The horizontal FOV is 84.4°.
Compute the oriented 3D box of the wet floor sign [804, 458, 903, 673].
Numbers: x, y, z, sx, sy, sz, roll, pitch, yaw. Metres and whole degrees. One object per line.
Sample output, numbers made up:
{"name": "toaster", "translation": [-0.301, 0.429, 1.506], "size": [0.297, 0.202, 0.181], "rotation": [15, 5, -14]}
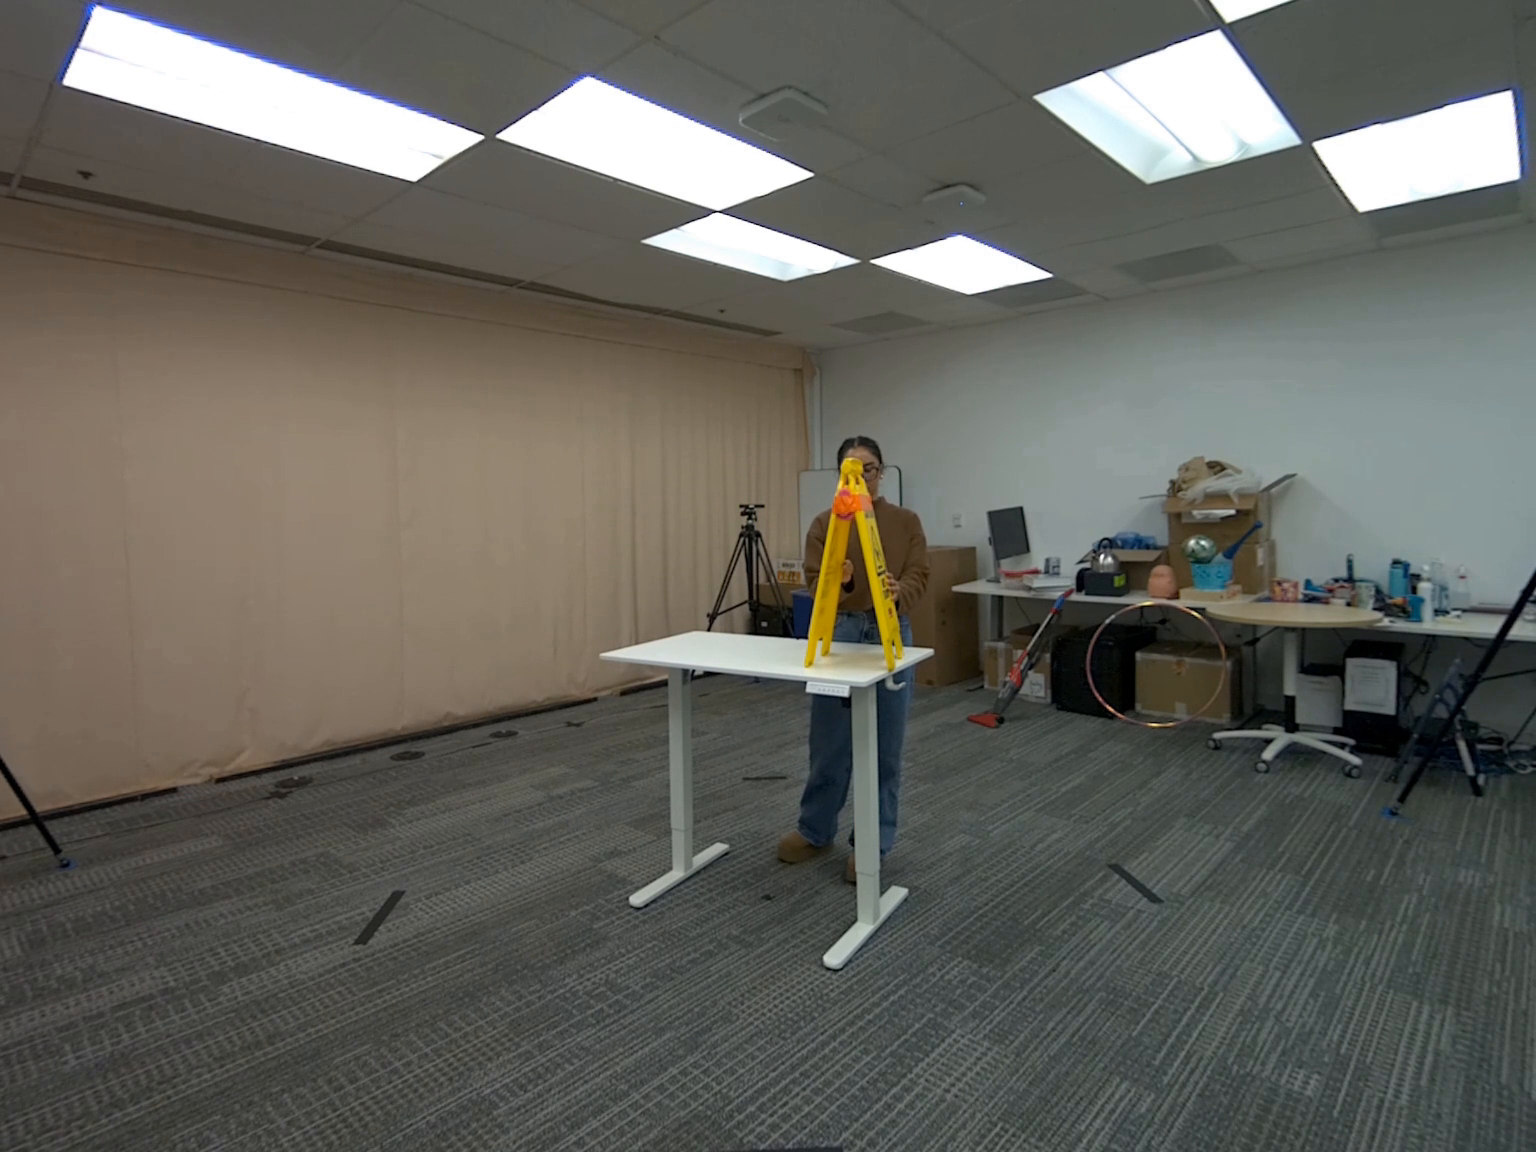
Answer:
{"name": "wet floor sign", "translation": [0.284, -0.046, 2.686], "size": [0.296, 0.644, 0.277], "rotation": [0, 5, 20]}
